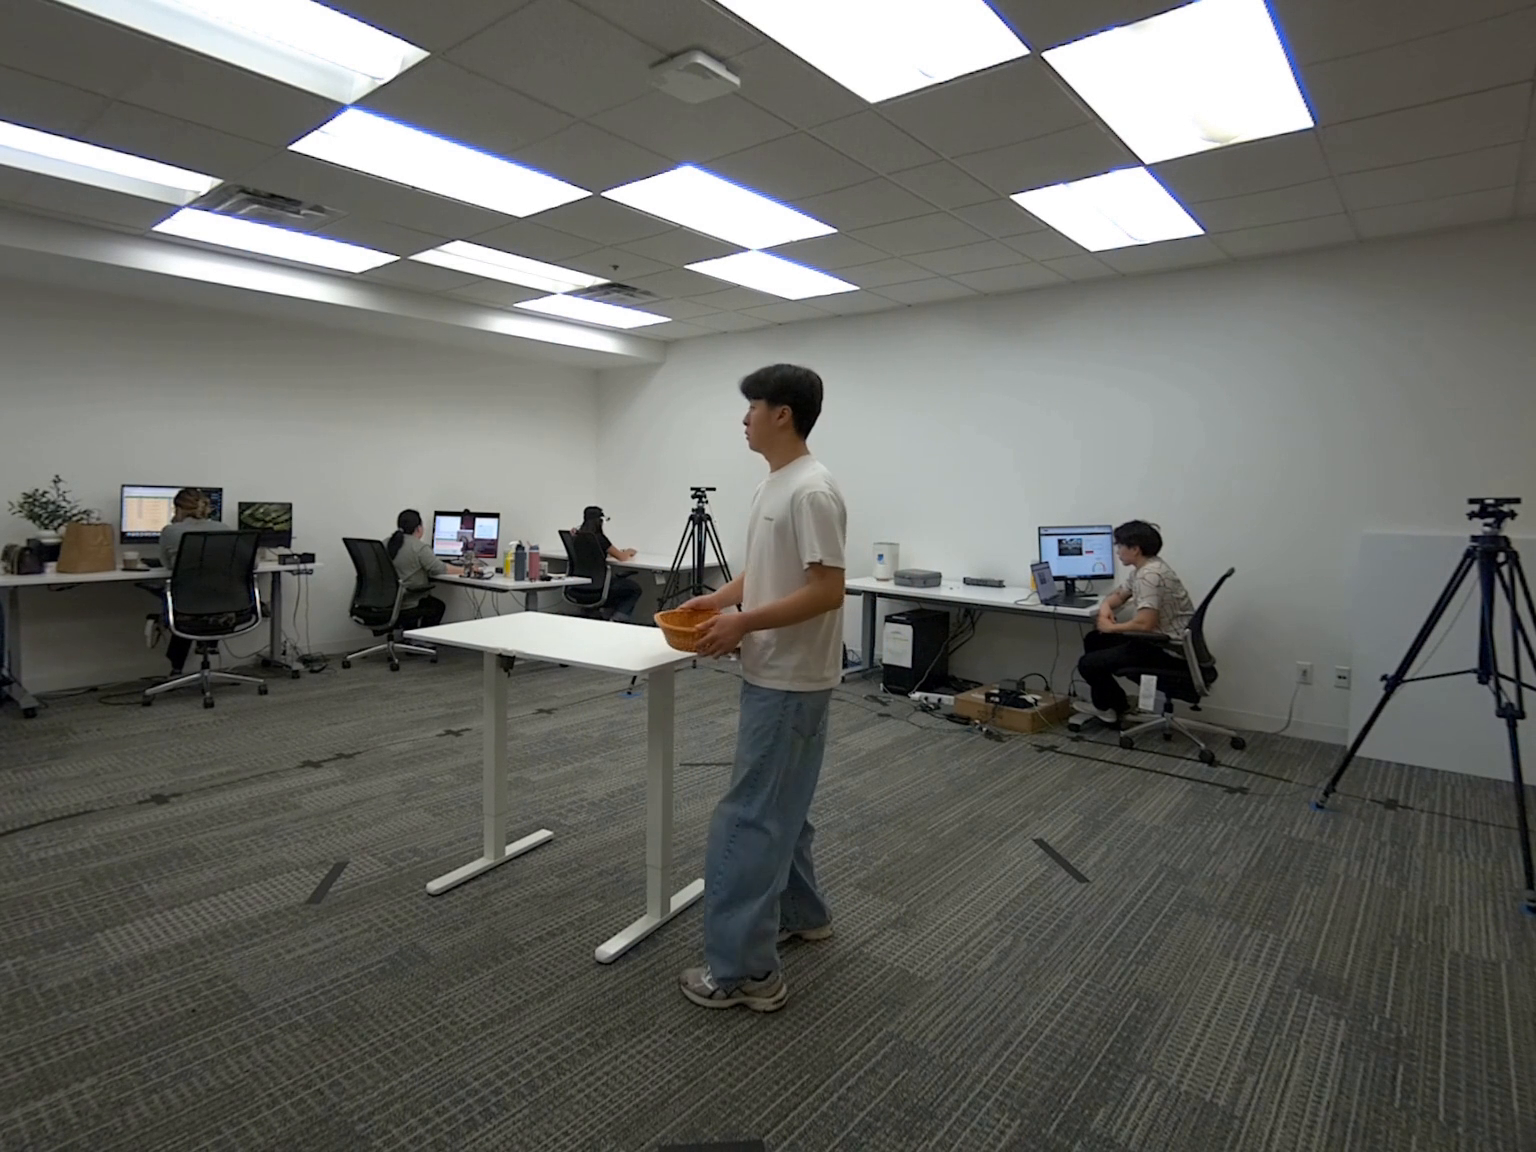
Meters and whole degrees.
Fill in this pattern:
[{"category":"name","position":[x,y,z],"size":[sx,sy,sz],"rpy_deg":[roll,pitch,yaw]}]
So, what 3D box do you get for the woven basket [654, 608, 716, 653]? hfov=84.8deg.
[{"category":"woven basket","position":[-0.182,0.153,2.442],"size":[0.251,0.073,0.354],"rpy_deg":[2,7,-5]}]
